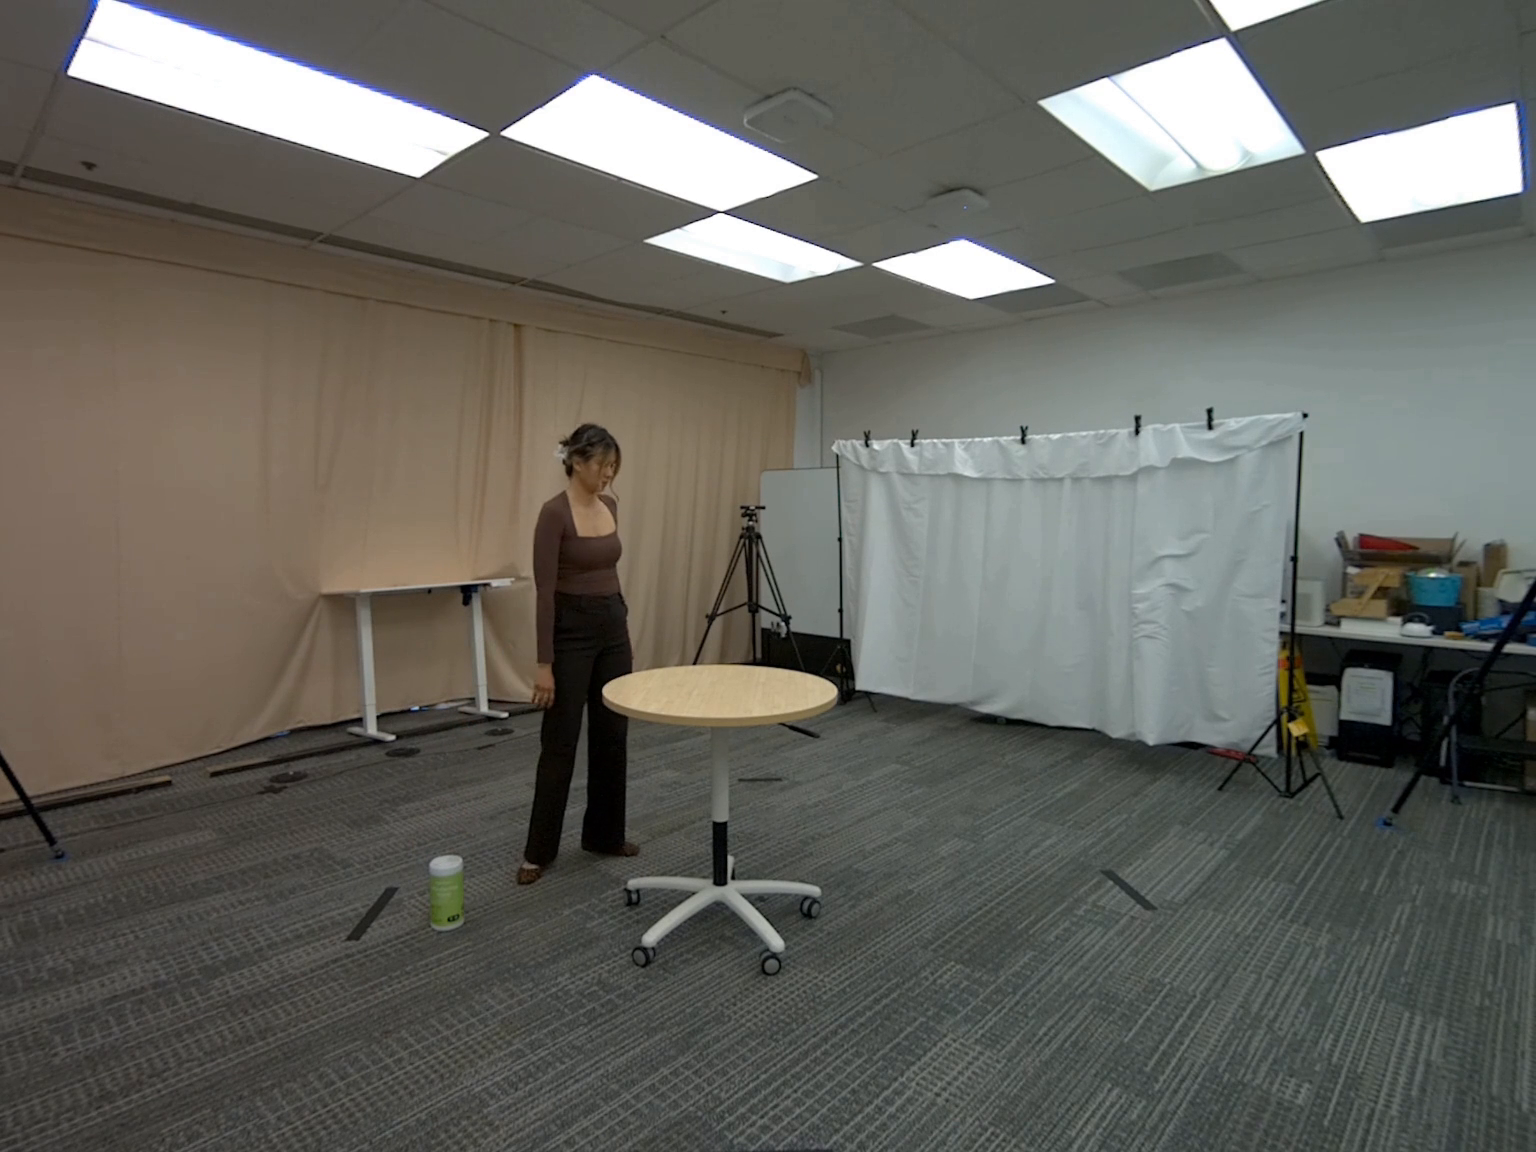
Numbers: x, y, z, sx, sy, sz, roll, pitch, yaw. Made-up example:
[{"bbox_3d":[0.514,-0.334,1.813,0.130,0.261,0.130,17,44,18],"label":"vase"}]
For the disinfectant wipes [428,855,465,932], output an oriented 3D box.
[{"bbox_3d":[-1.073,1.053,2.818,0.118,0.217,0.118,0,5,-2],"label":"disinfectant wipes"}]
